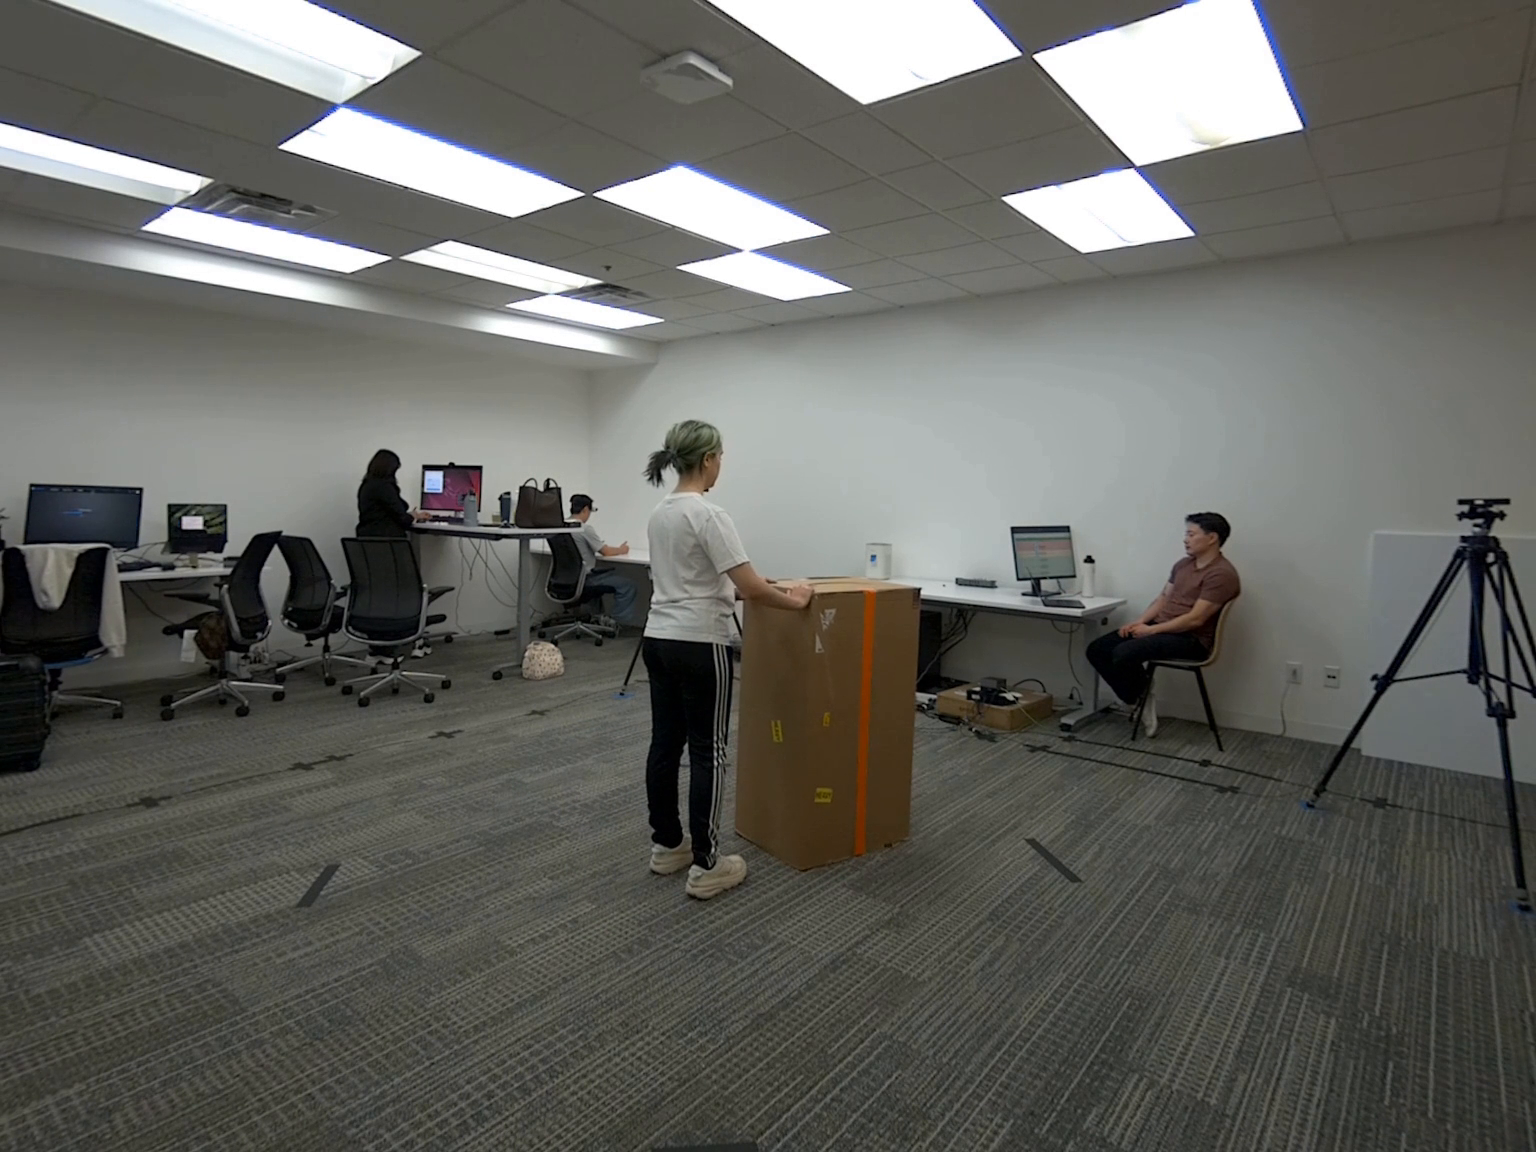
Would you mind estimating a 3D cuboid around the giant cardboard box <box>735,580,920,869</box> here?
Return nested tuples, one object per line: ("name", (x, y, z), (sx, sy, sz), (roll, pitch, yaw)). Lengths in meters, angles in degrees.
("giant cardboard box", (0.232, 0.541, 3.417), (0.566, 1.024, 0.462), (-1, 3, -38))
